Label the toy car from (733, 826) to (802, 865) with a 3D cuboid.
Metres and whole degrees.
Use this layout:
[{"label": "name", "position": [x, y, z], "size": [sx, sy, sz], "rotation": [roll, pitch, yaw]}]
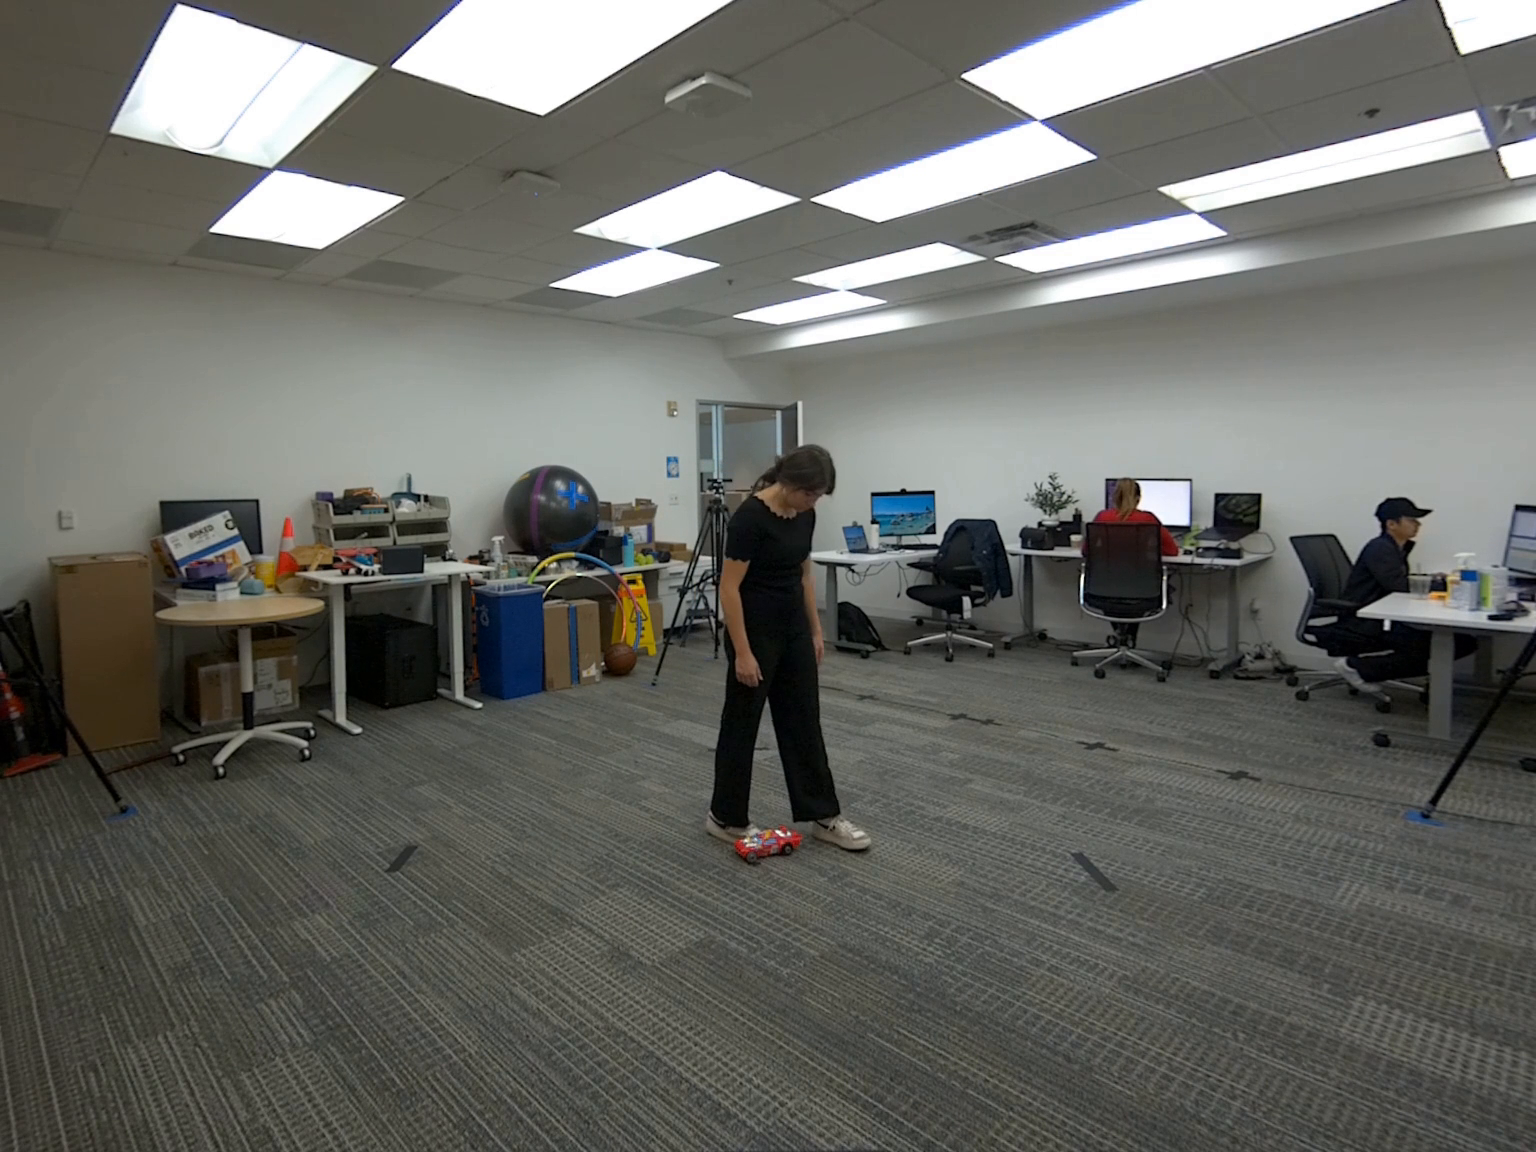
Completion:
[{"label": "toy car", "position": [0.004, 1.000, 3.194], "size": [0.251, 0.082, 0.133], "rotation": [-14, 9, -19]}]
